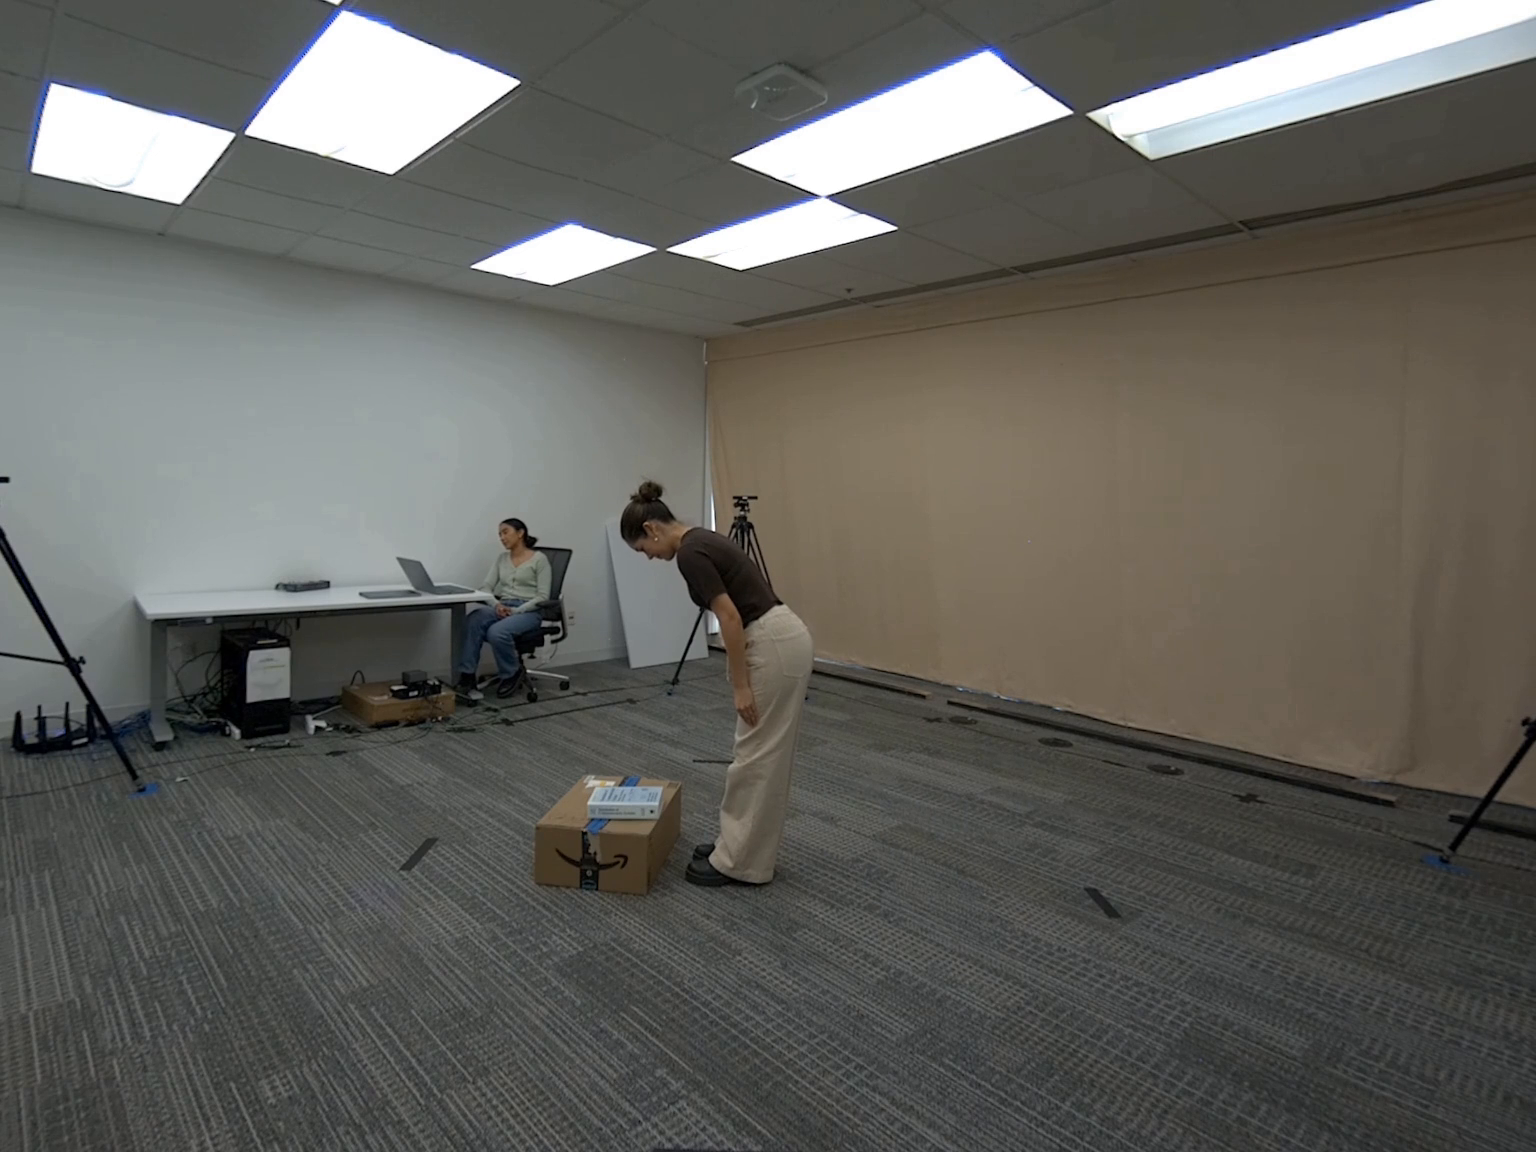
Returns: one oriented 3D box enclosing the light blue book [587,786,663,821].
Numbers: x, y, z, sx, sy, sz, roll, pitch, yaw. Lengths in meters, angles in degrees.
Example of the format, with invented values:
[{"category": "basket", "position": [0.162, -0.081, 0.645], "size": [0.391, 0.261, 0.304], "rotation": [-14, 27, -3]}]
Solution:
[{"category": "light blue book", "position": [-0.531, 0.842, 3.154], "size": [0.261, 0.059, 0.191], "rotation": [0, 4, 1]}]
